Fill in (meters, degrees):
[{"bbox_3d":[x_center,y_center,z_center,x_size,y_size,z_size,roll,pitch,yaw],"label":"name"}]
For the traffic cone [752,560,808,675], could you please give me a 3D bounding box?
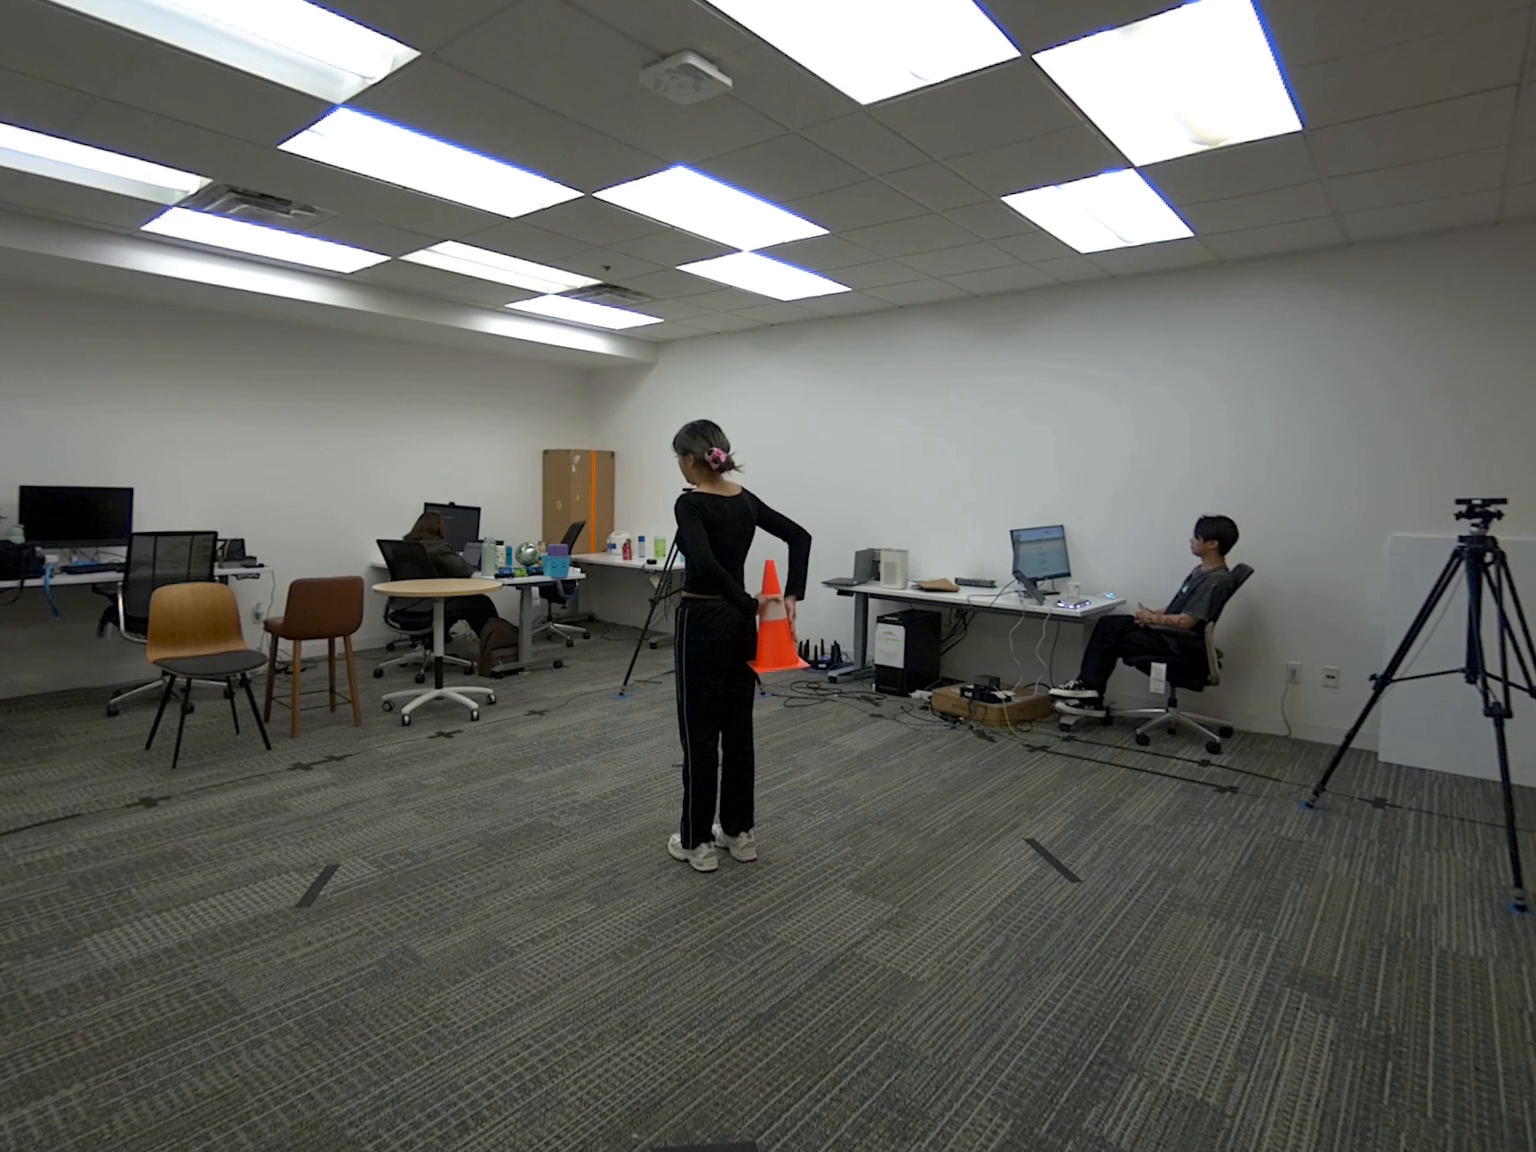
[{"bbox_3d":[0.009,0.130,3.068,0.202,0.382,0.206,-5,3,-13],"label":"traffic cone"}]
